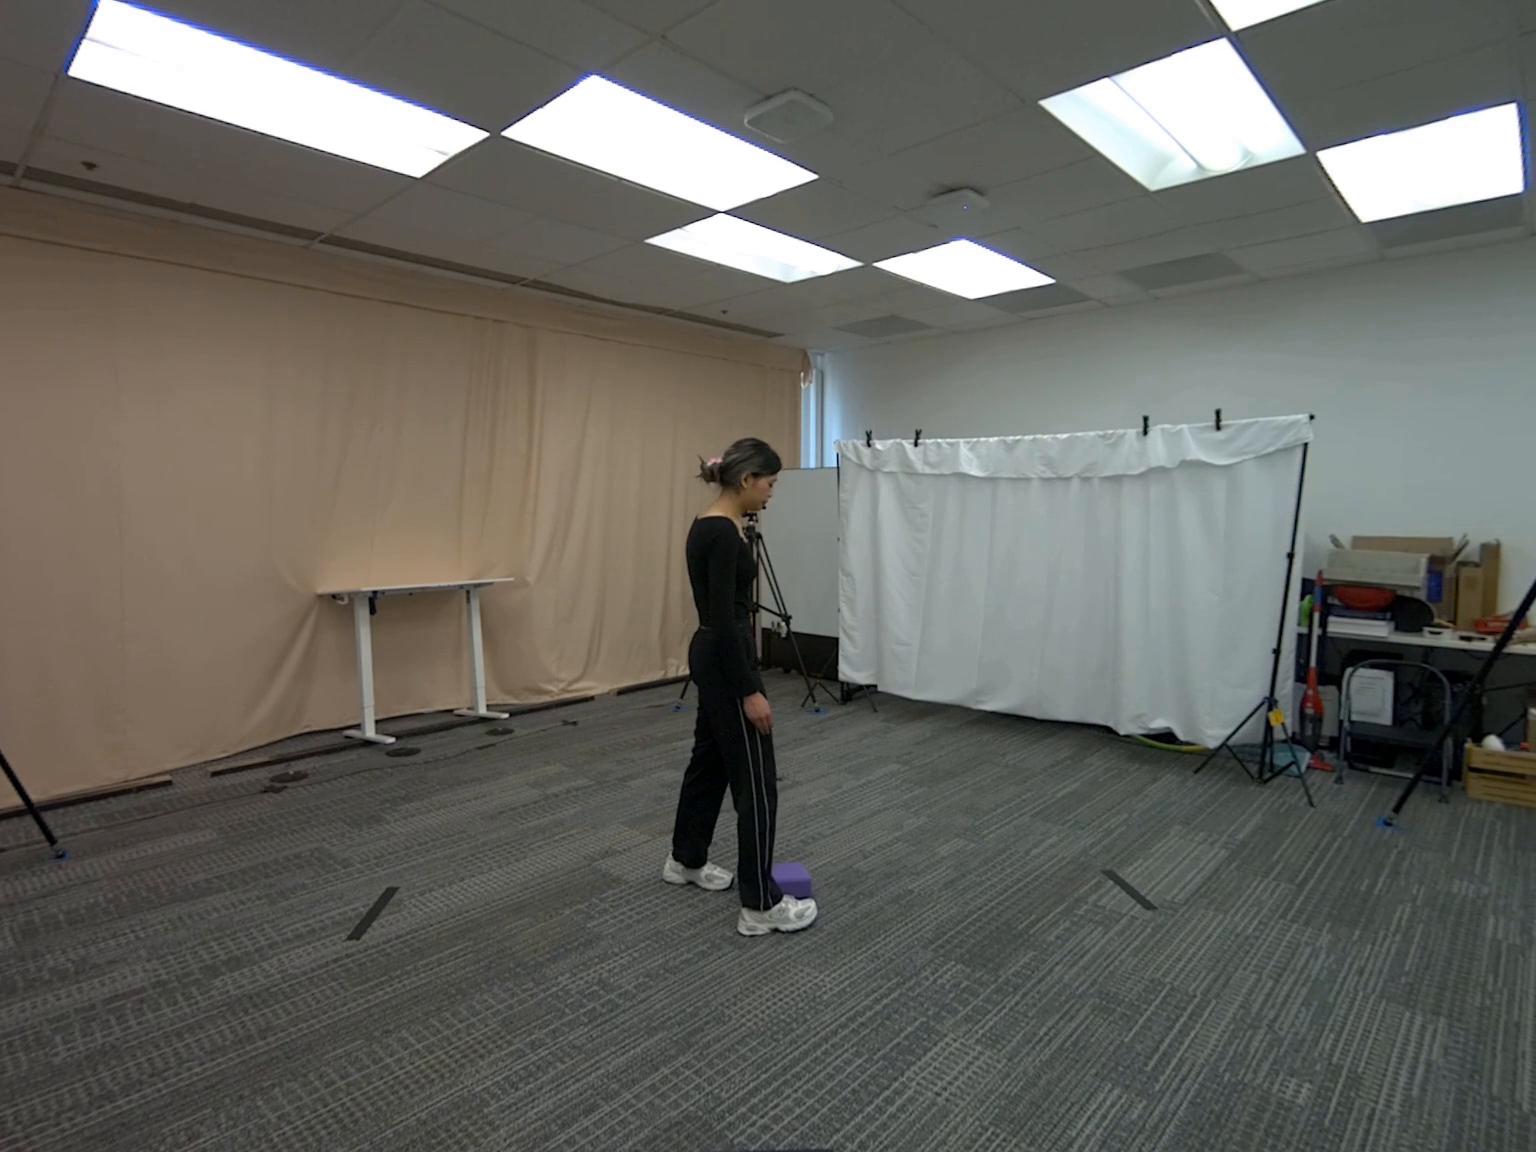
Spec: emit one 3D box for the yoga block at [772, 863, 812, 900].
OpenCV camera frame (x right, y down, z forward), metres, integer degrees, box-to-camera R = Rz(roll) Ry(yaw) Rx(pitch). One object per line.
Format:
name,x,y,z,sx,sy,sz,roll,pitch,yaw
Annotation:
yoga block,0.032,1.102,3.025,0.227,0.076,0.151,-2,5,-9
